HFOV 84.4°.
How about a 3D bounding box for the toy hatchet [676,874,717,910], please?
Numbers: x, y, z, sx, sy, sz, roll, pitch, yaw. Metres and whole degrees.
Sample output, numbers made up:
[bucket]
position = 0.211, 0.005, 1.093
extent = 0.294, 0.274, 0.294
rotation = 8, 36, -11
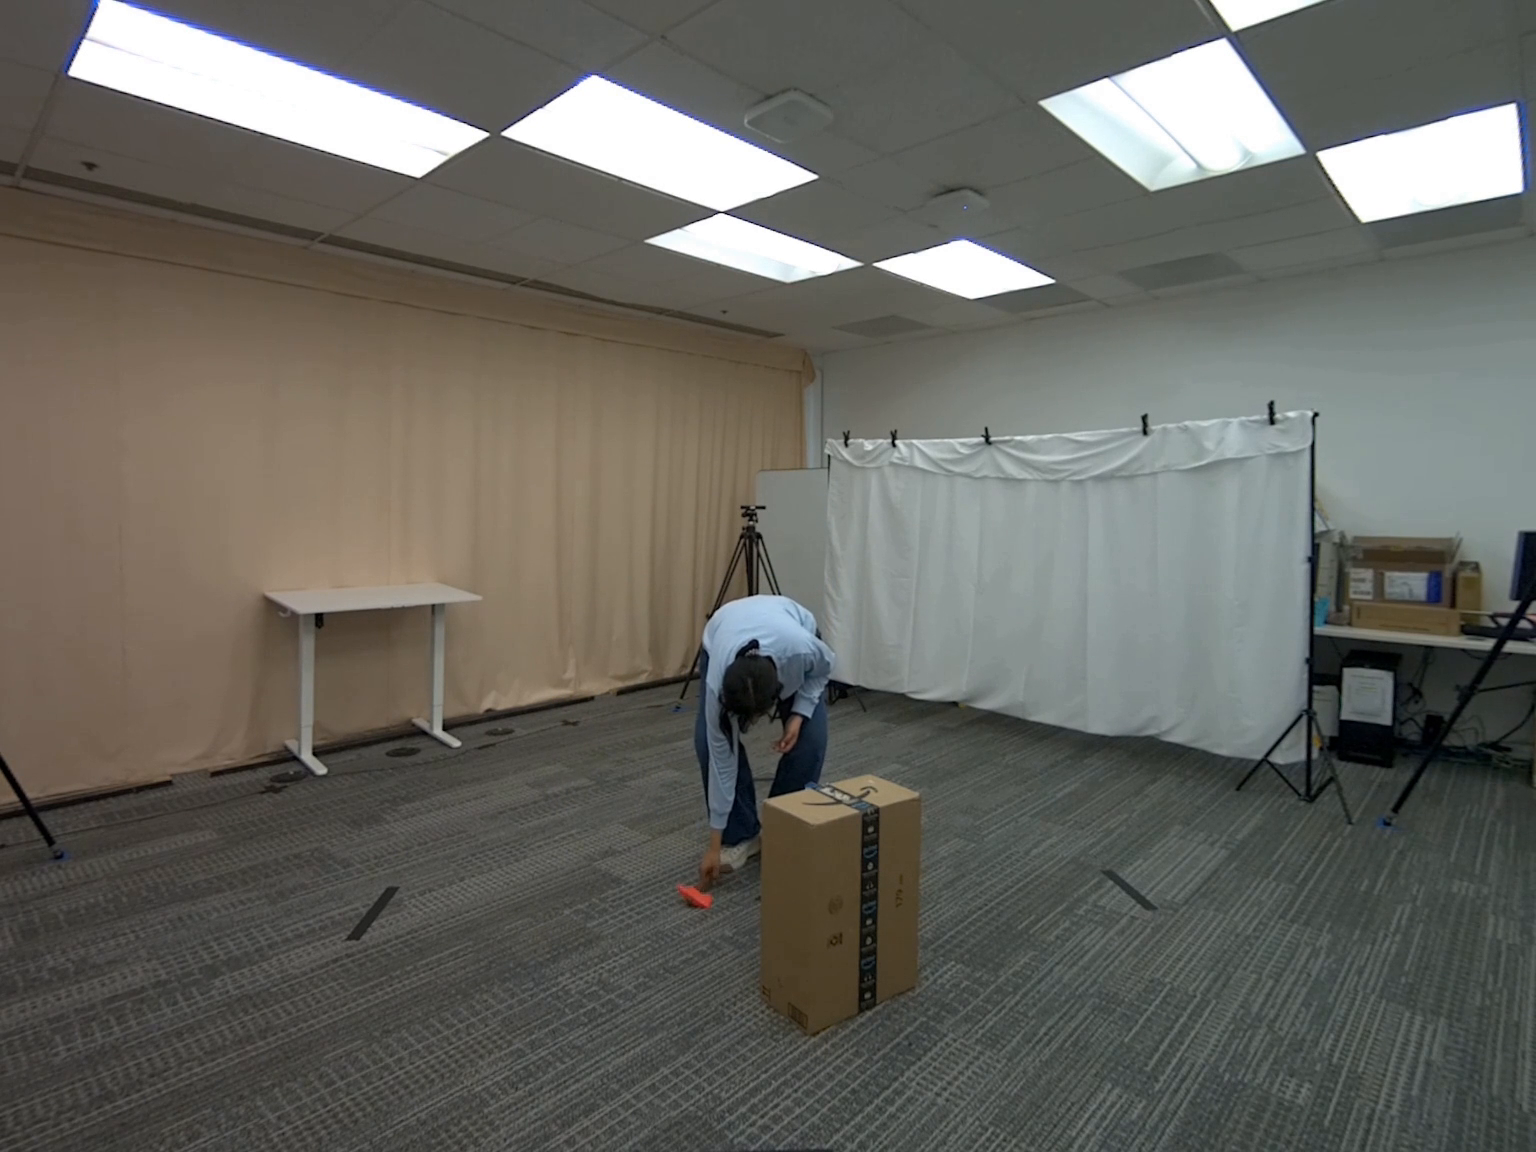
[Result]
[toy hatchet]
position = -0.192, 1.112, 3.008
extent = 0.261, 0.029, 0.136
rotation = -2, 28, -47
